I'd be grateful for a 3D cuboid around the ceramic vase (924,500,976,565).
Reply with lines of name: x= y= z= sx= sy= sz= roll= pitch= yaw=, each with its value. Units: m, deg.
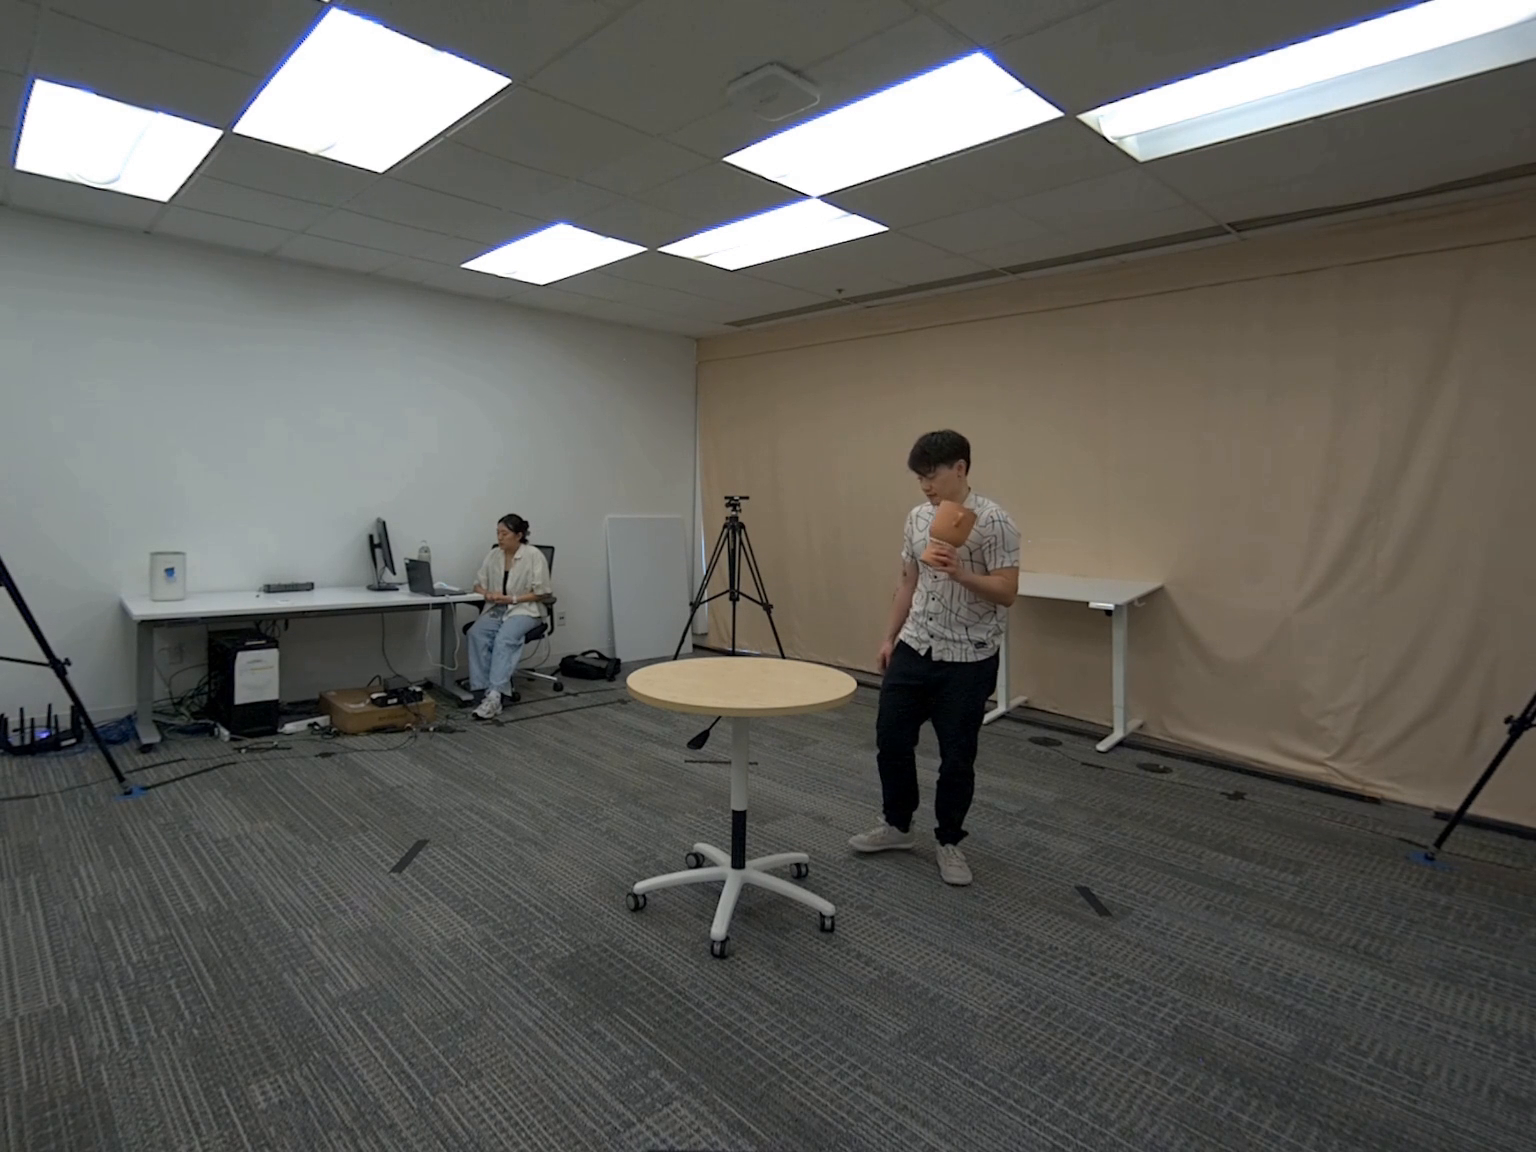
ceramic vase: x=0.605 y=-0.135 z=2.882 sx=0.139 sy=0.220 sz=0.154 roll=23 pitch=-4 yaw=41
